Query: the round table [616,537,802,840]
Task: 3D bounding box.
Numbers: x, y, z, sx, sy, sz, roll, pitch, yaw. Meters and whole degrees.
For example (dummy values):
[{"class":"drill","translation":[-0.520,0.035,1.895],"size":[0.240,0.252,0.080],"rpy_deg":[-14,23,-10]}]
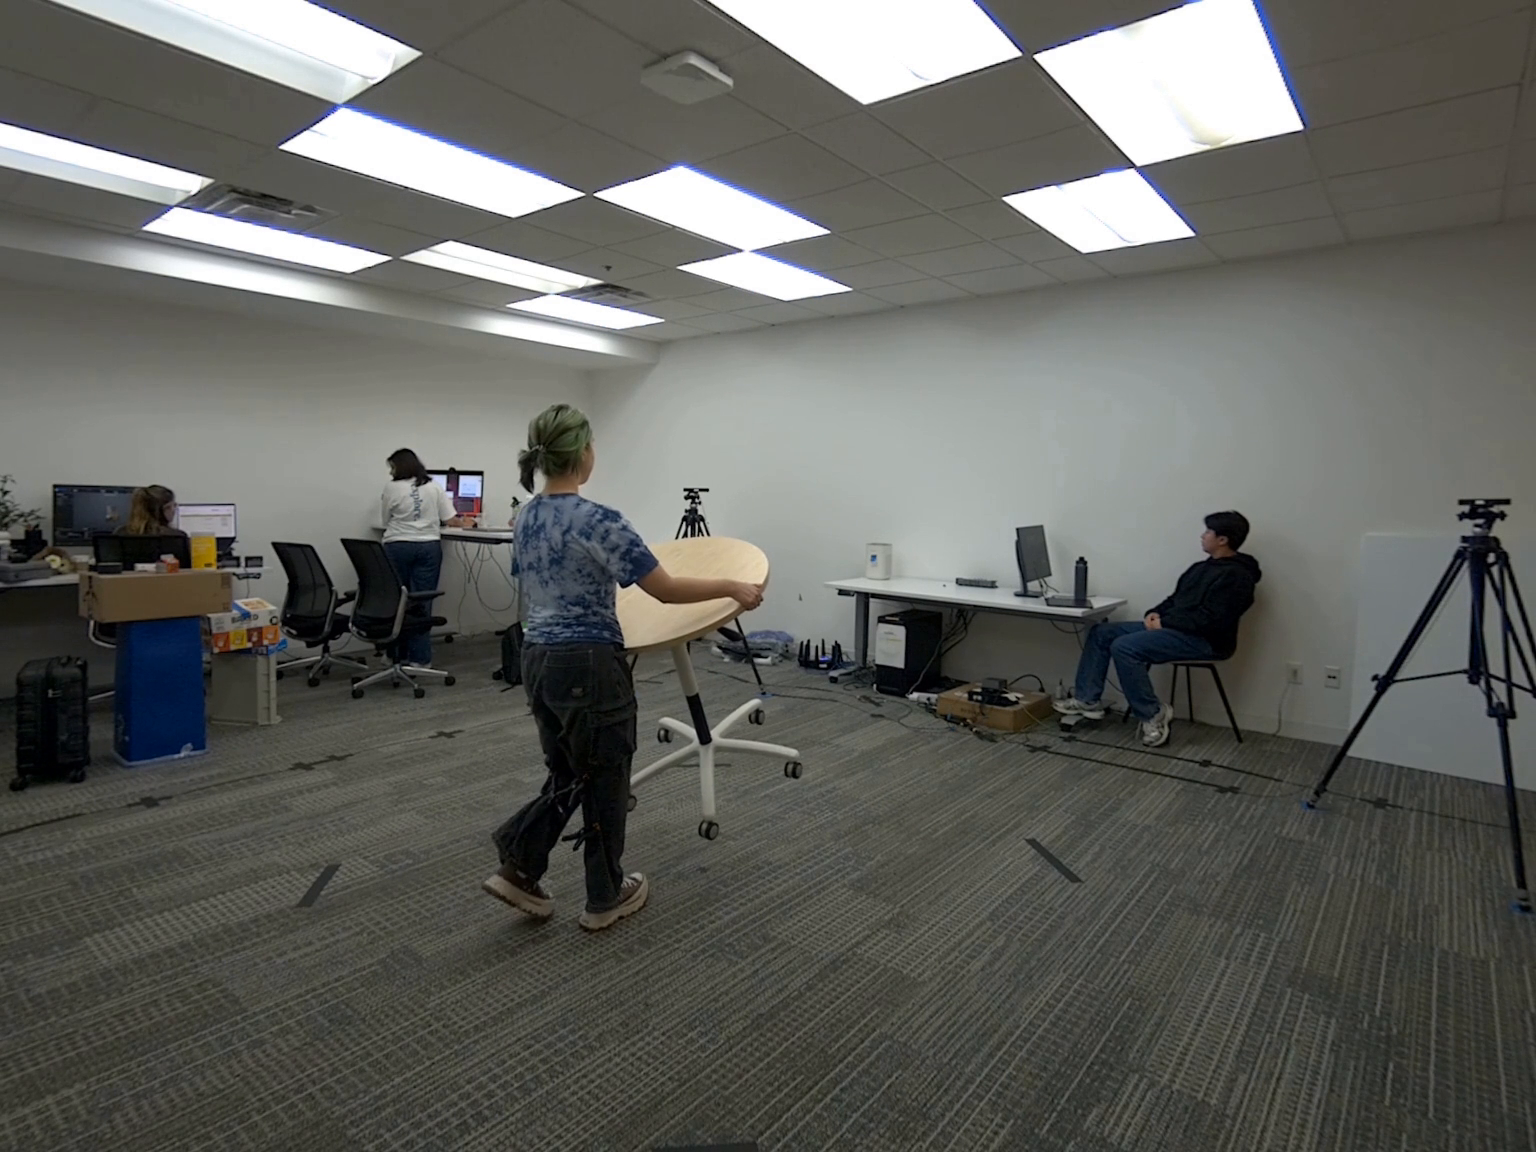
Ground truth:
[{"class":"round table","translation":[-0.299,0.387,3.086],"size":[0.767,0.774,0.781],"rpy_deg":[-12,24,4]}]
